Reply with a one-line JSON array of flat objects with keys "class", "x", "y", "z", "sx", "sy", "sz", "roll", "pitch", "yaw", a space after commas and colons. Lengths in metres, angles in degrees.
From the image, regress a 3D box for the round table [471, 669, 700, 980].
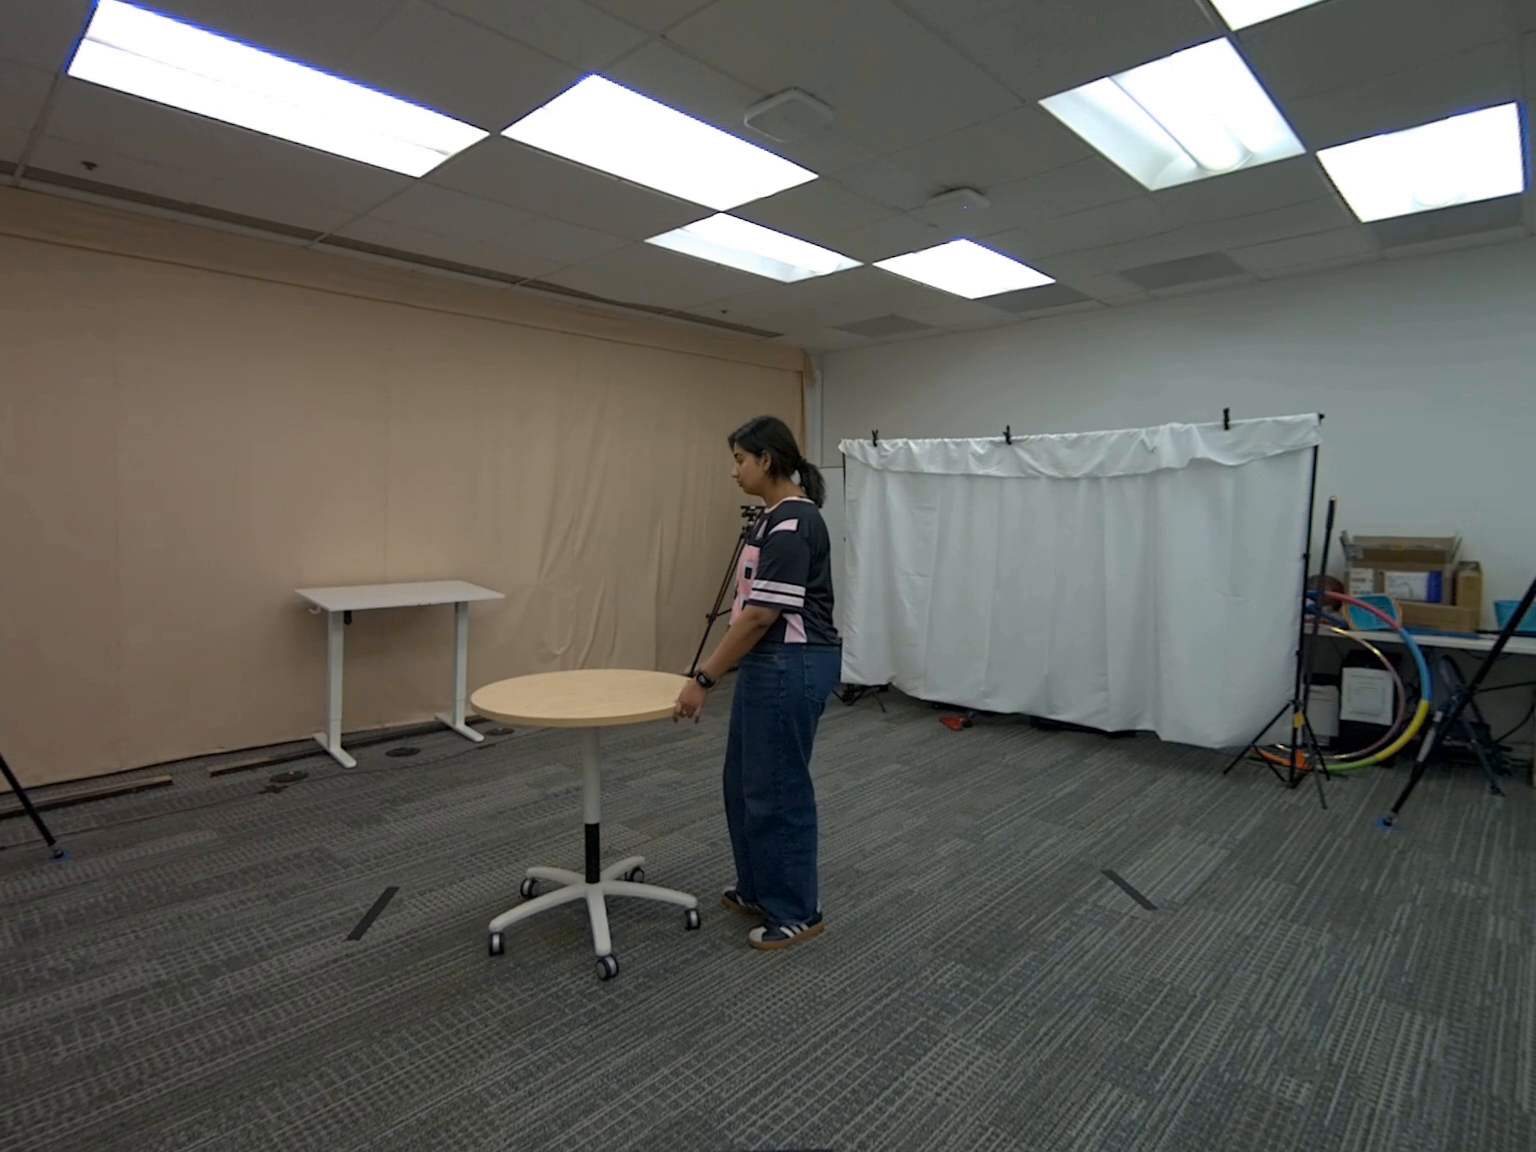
[{"class": "round table", "x": -0.576, "y": 0.776, "z": 2.801, "sx": 0.784, "sy": 0.785, "sz": 0.788, "roll": -1, "pitch": 3, "yaw": -2}]
